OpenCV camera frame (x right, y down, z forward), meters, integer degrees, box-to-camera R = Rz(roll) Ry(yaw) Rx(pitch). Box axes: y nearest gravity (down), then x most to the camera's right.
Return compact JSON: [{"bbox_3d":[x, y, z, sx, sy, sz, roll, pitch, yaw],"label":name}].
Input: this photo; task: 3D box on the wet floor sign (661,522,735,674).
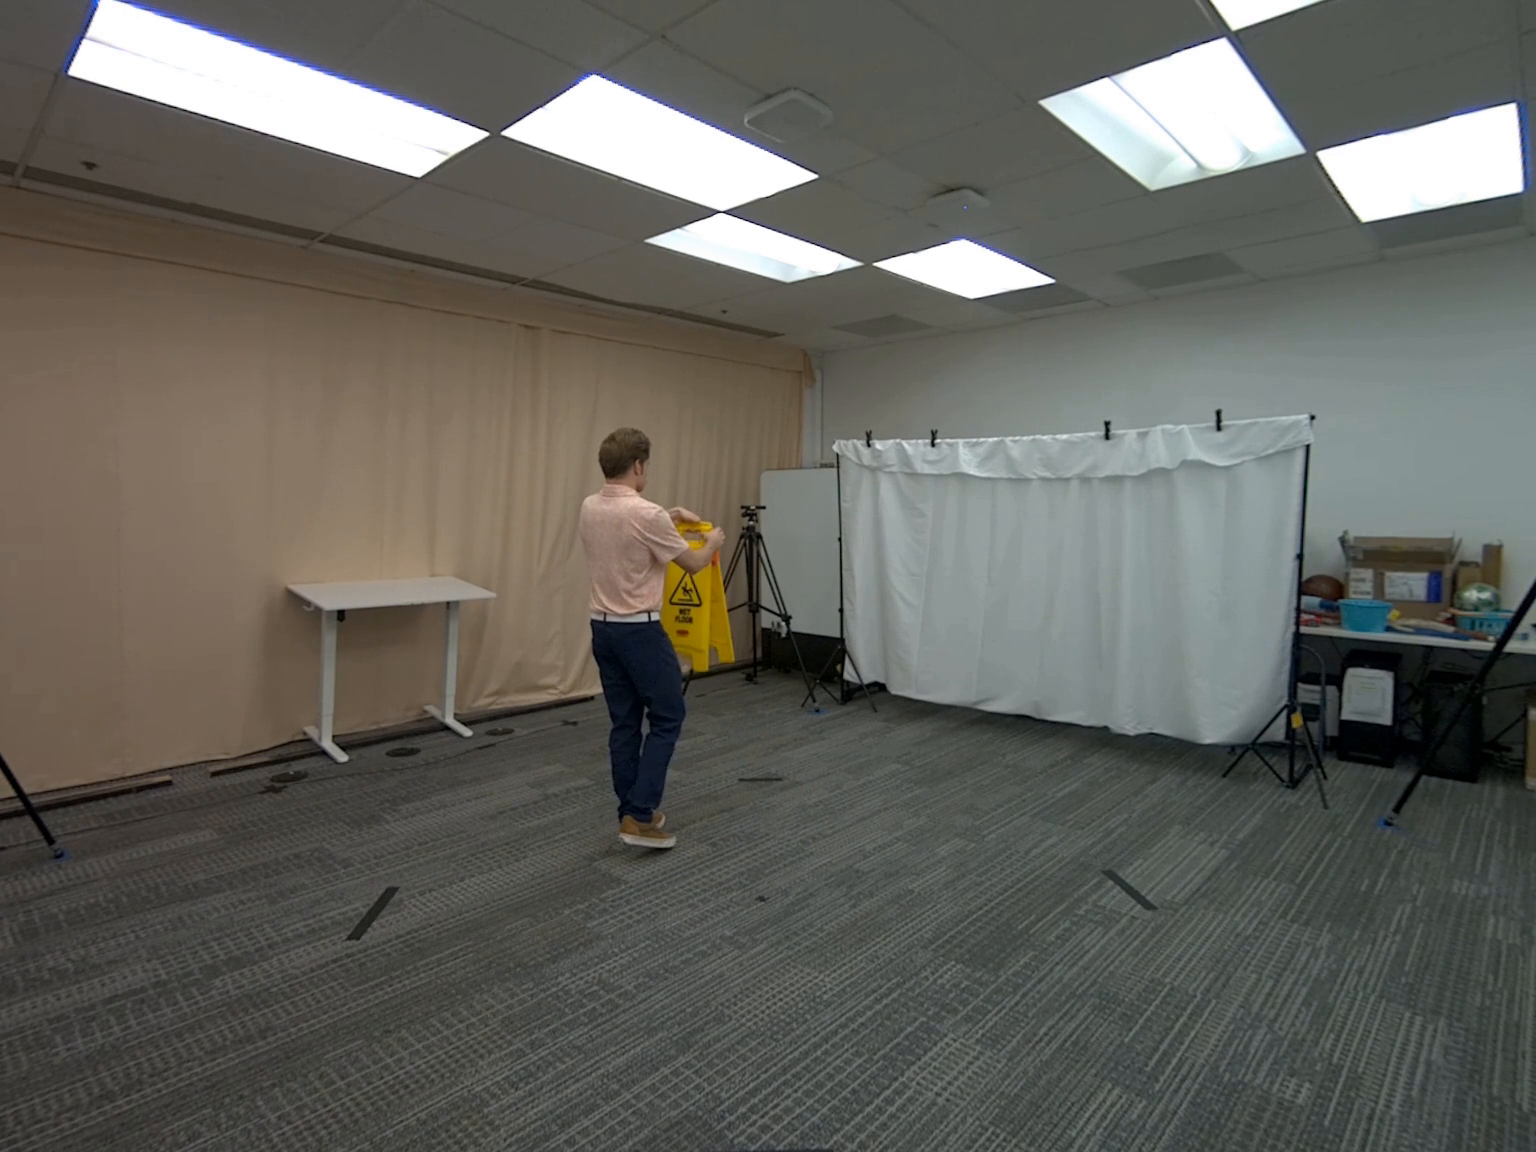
[{"bbox_3d":[-0.338,0.085,3.850,0.290,0.645,0.282,2,4,30],"label":"wet floor sign"}]
